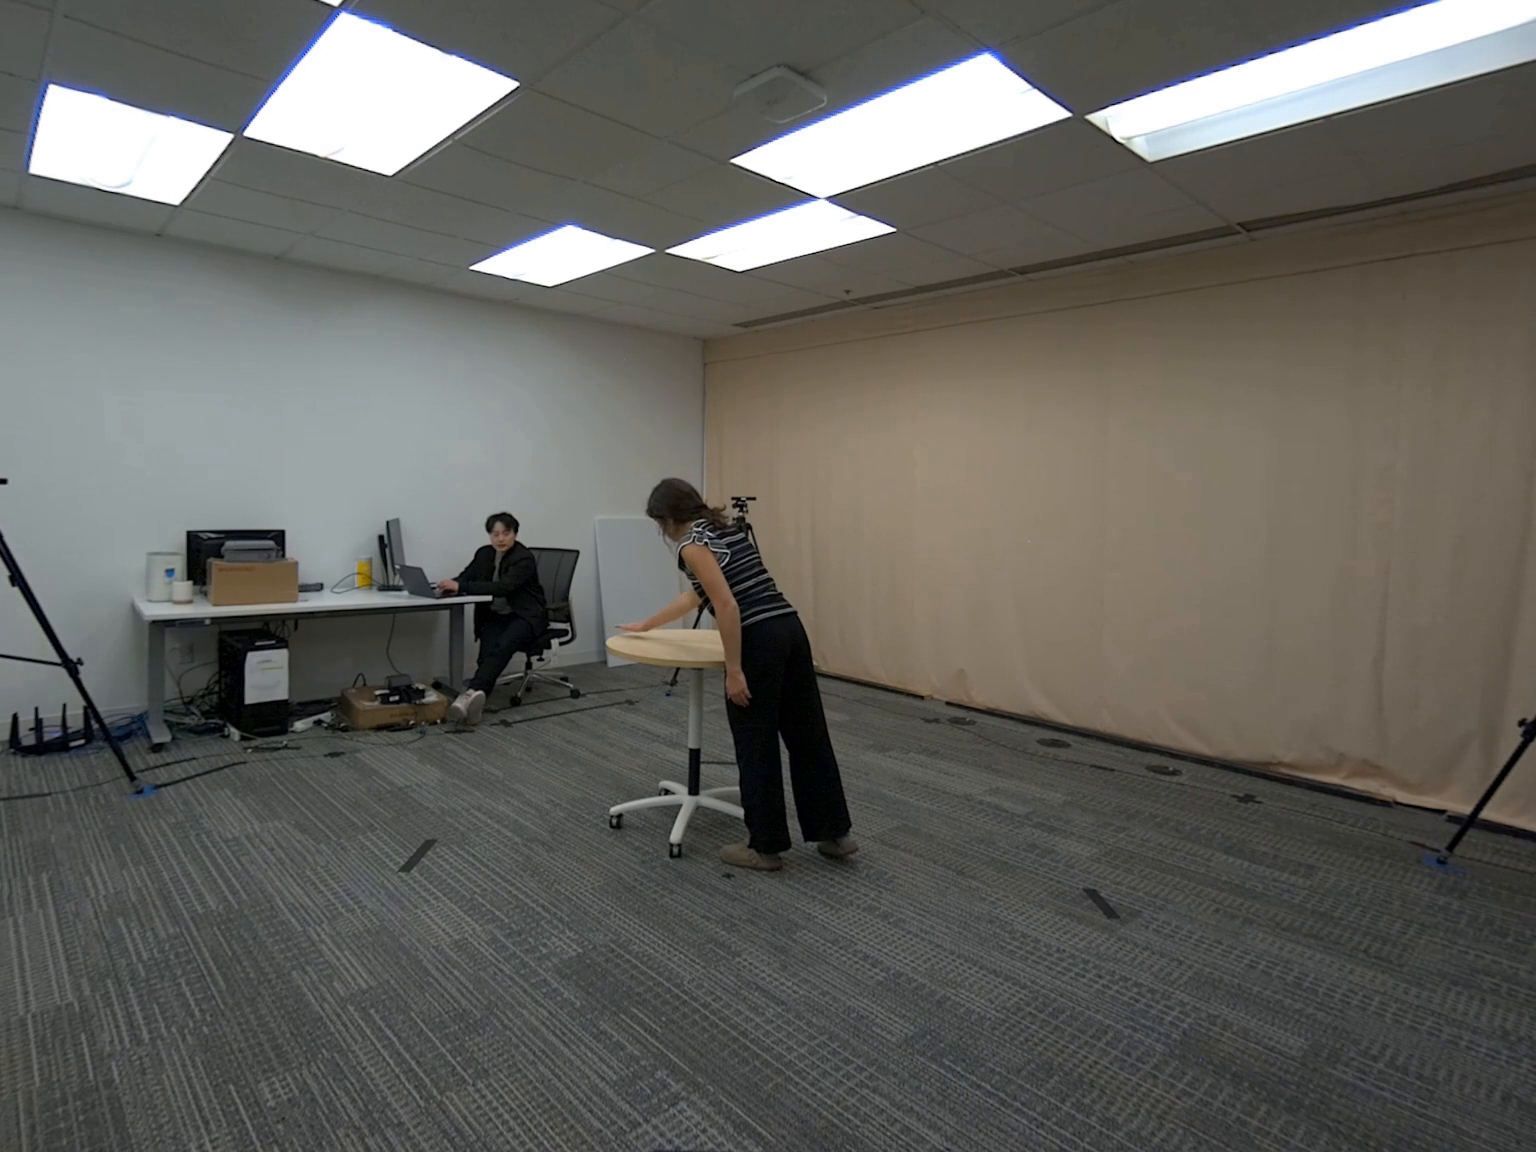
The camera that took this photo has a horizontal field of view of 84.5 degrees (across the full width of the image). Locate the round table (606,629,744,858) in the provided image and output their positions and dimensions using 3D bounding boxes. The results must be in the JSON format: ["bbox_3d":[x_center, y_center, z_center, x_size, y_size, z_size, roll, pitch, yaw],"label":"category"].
[{"bbox_3d":[-0.322,0.676,3.550,0.763,0.792,0.766,2,4,-1],"label":"round table"}]
